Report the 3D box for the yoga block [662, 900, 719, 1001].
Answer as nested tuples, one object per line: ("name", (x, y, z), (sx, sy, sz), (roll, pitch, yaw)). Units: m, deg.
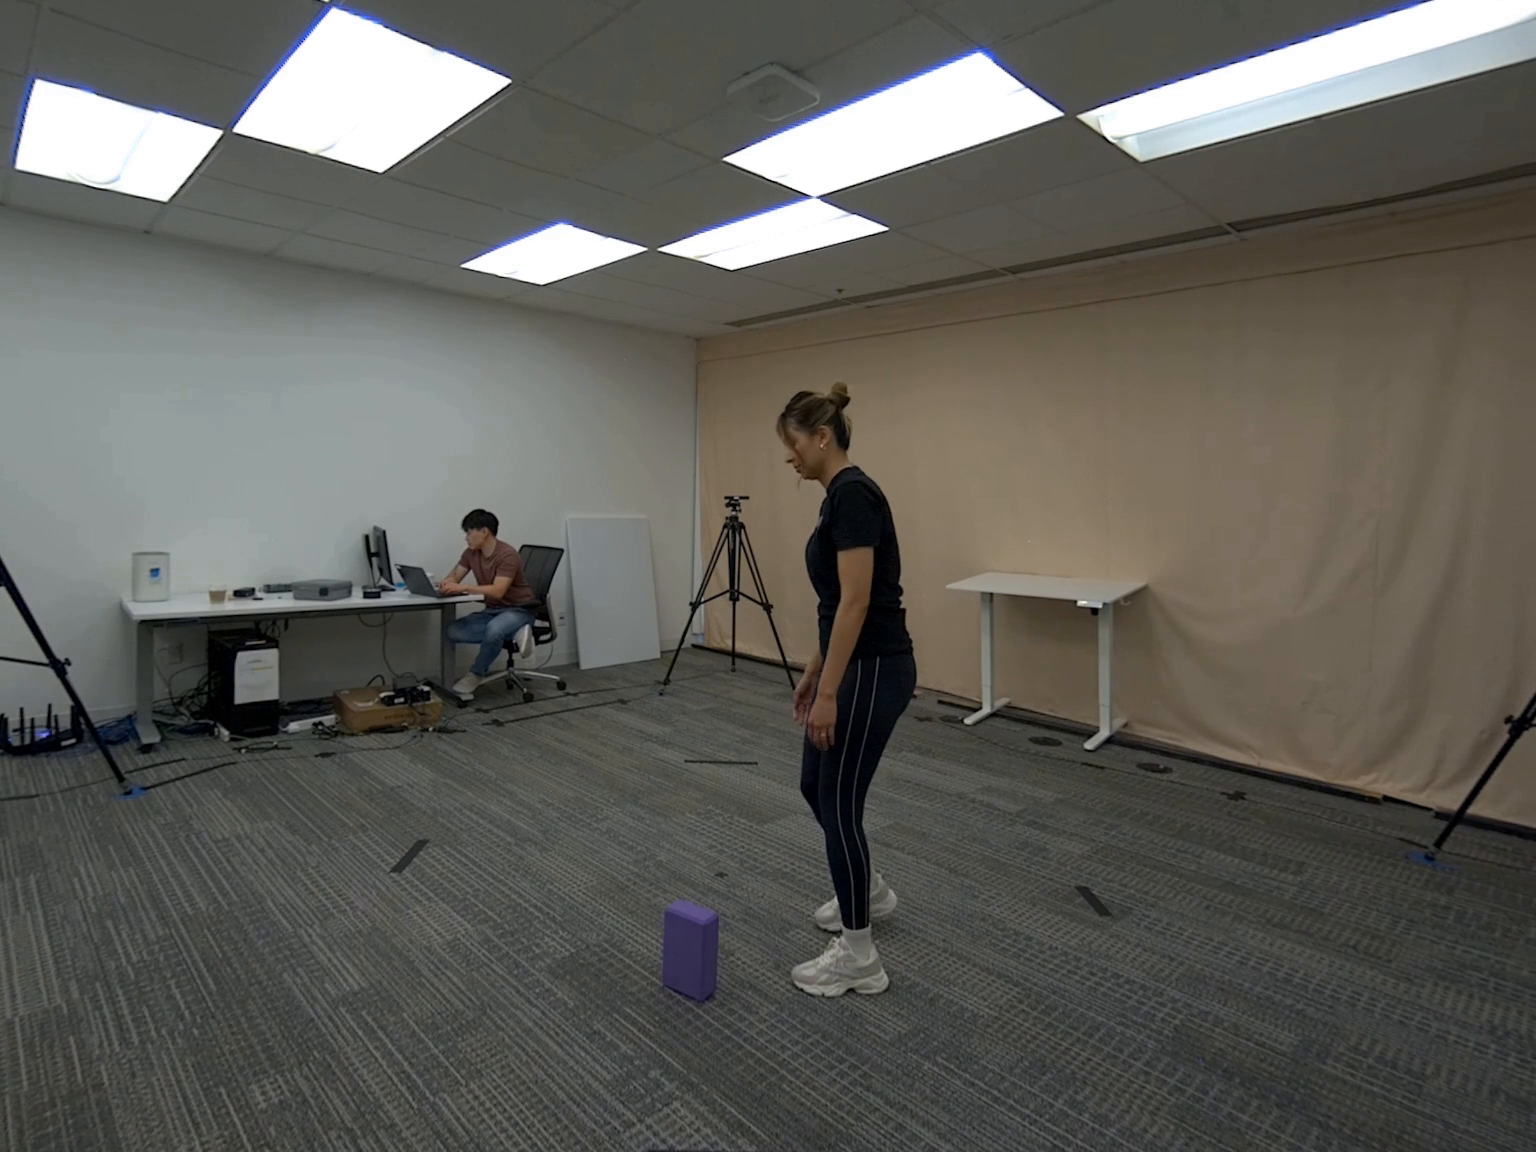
("yoga block", (-0.225, 1.051, 2.373), (0.152, 0.229, 0.075), (1, 2, 29))
